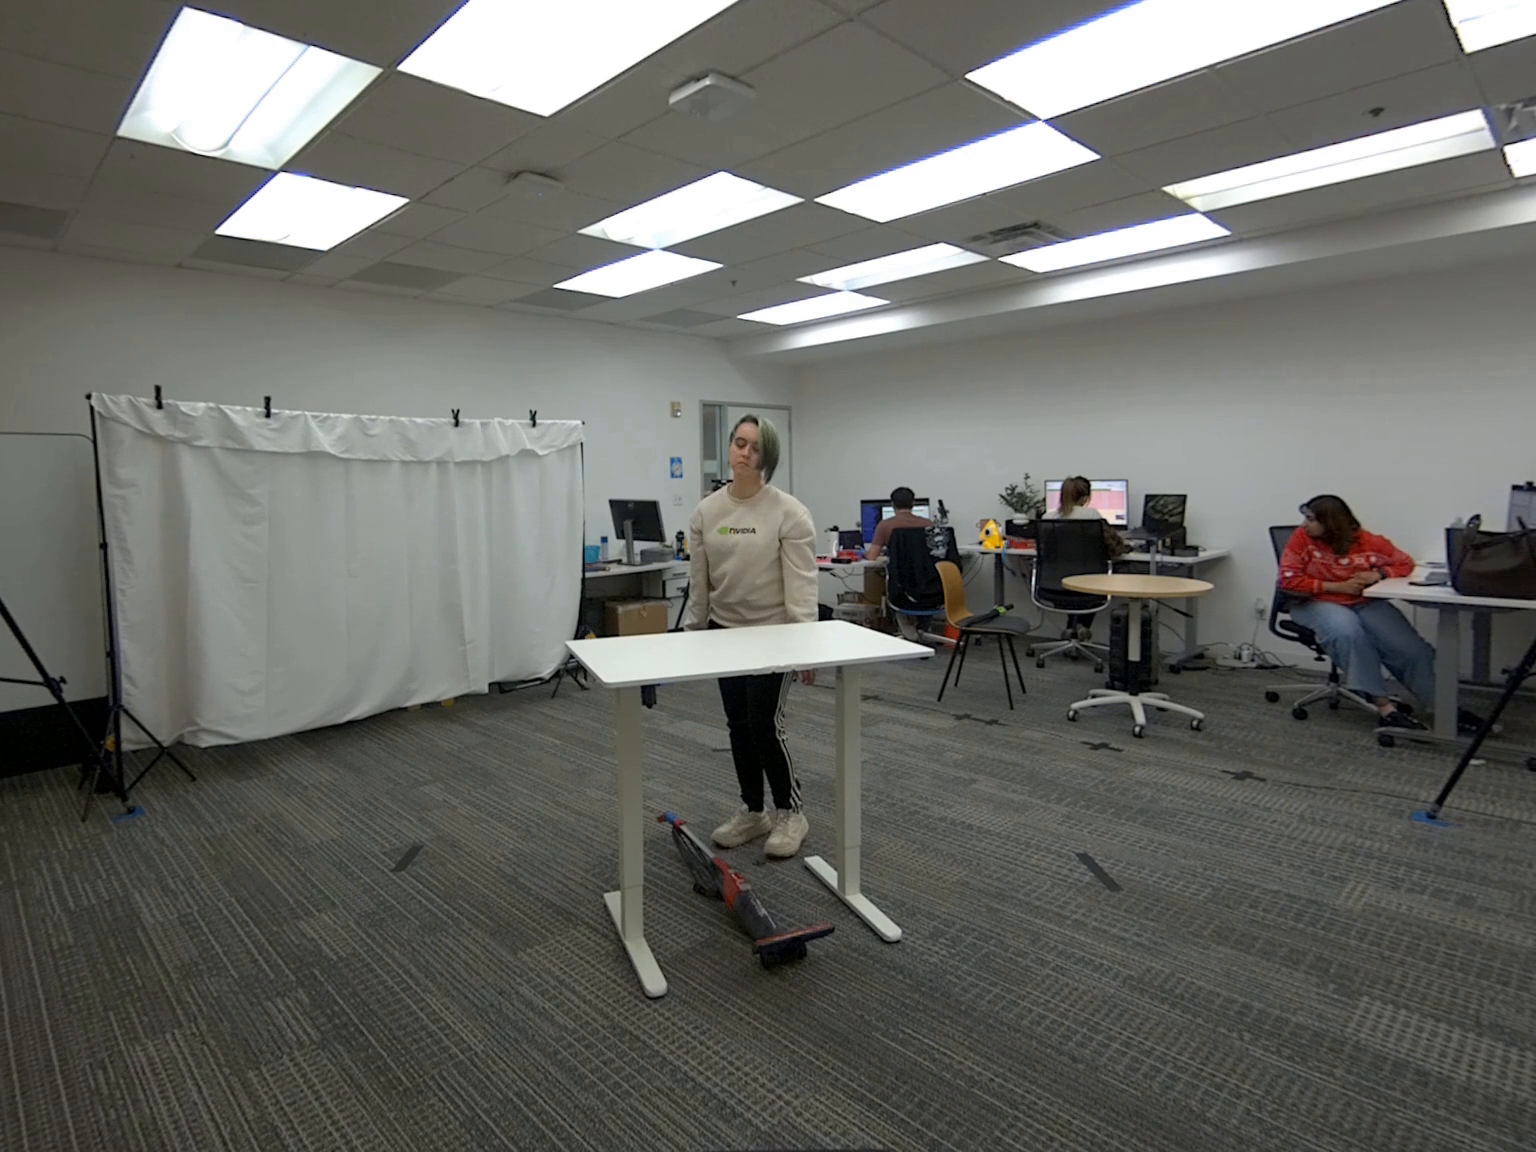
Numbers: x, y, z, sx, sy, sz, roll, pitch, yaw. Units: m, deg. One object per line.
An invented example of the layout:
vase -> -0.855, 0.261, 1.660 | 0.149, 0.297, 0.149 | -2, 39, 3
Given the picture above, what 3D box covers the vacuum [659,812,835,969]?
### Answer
vacuum -> -0.186, 1.014, 2.907 | 0.247, 0.143, 1.076 | -5, 7, -26
